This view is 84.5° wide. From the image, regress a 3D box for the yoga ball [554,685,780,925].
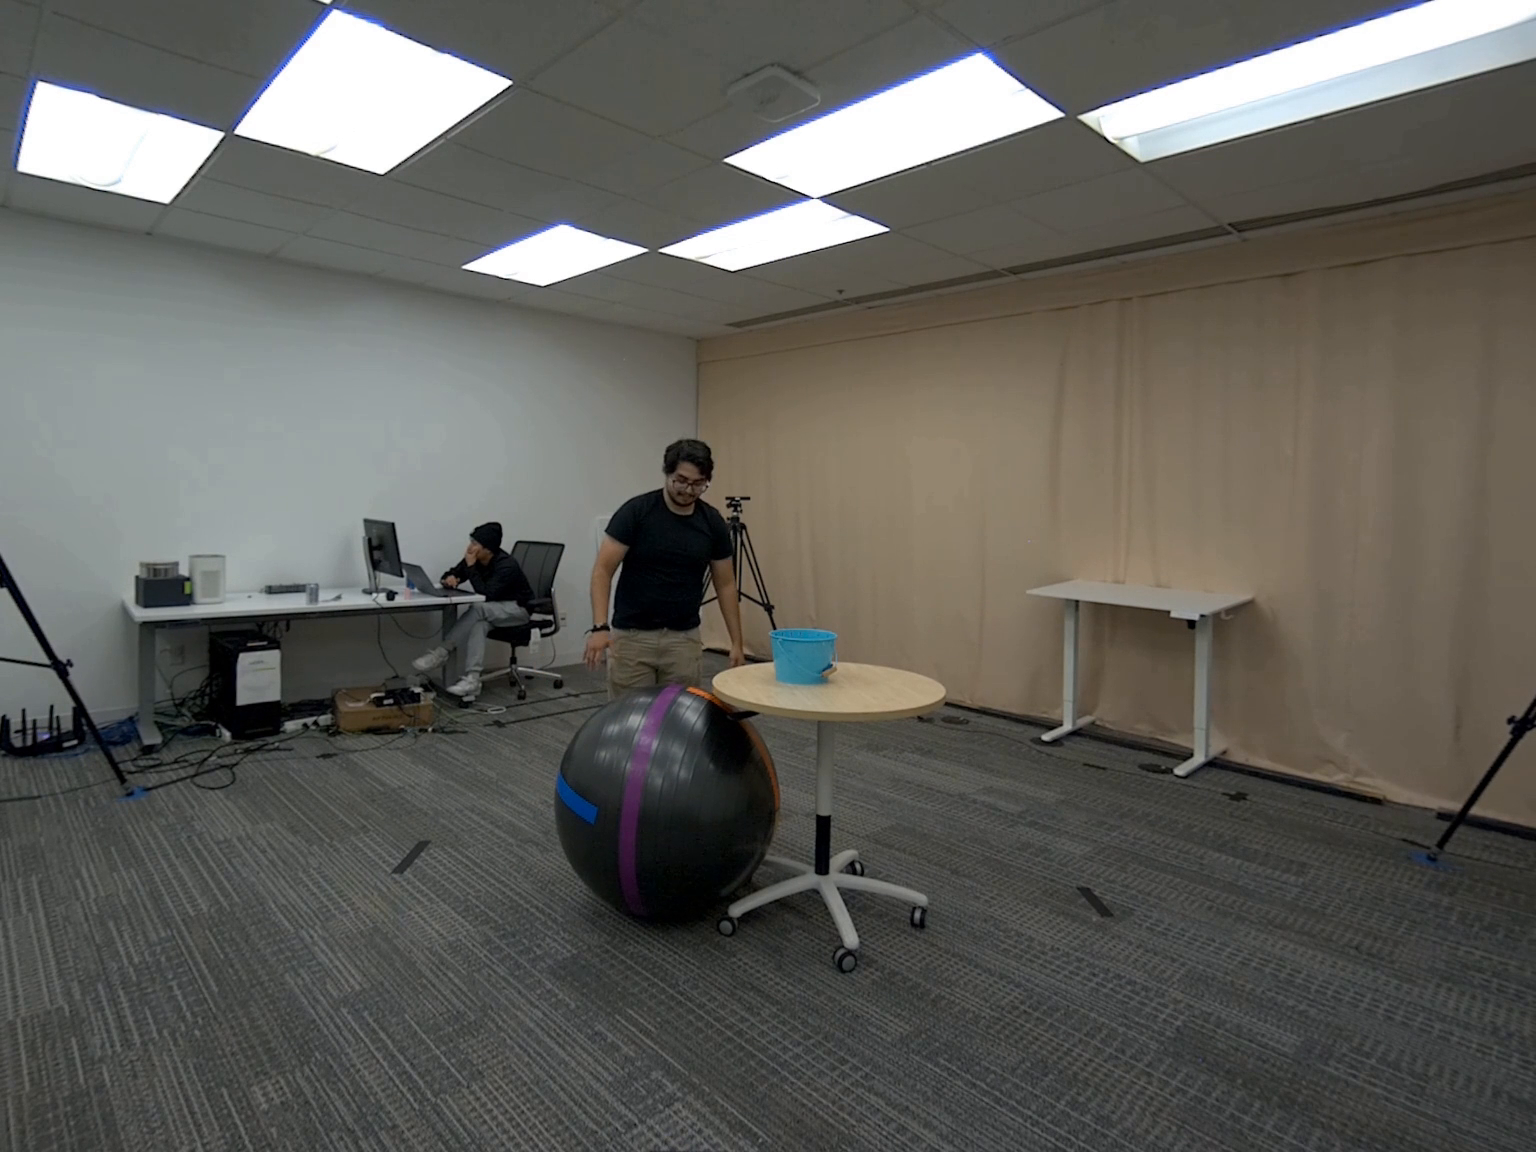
[{"bbox_3d":[-0.356,0.764,2.858,0.757,0.756,0.761,1,4,-1],"label":"yoga ball"}]
